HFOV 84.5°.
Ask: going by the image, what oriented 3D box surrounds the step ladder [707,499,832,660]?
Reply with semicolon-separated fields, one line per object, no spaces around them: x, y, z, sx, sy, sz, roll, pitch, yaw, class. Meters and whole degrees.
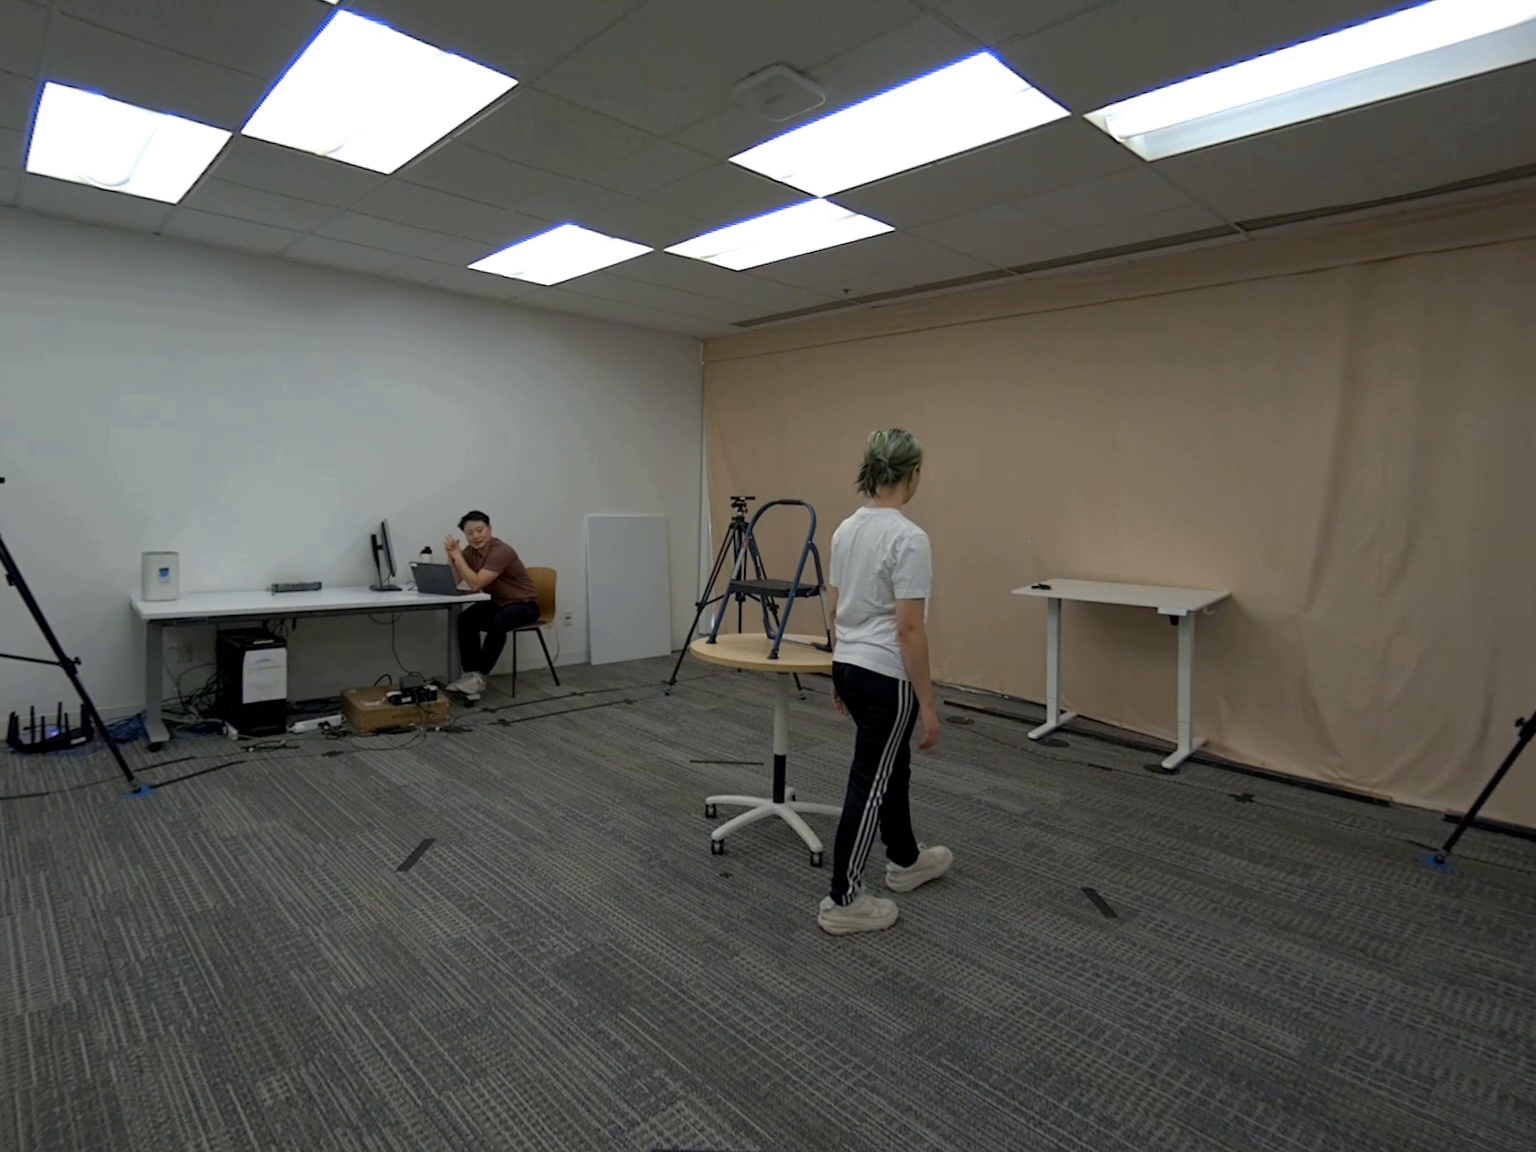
0.014;-0.007;3.427;0.341;0.605;0.441;-1;4;-39;step ladder
